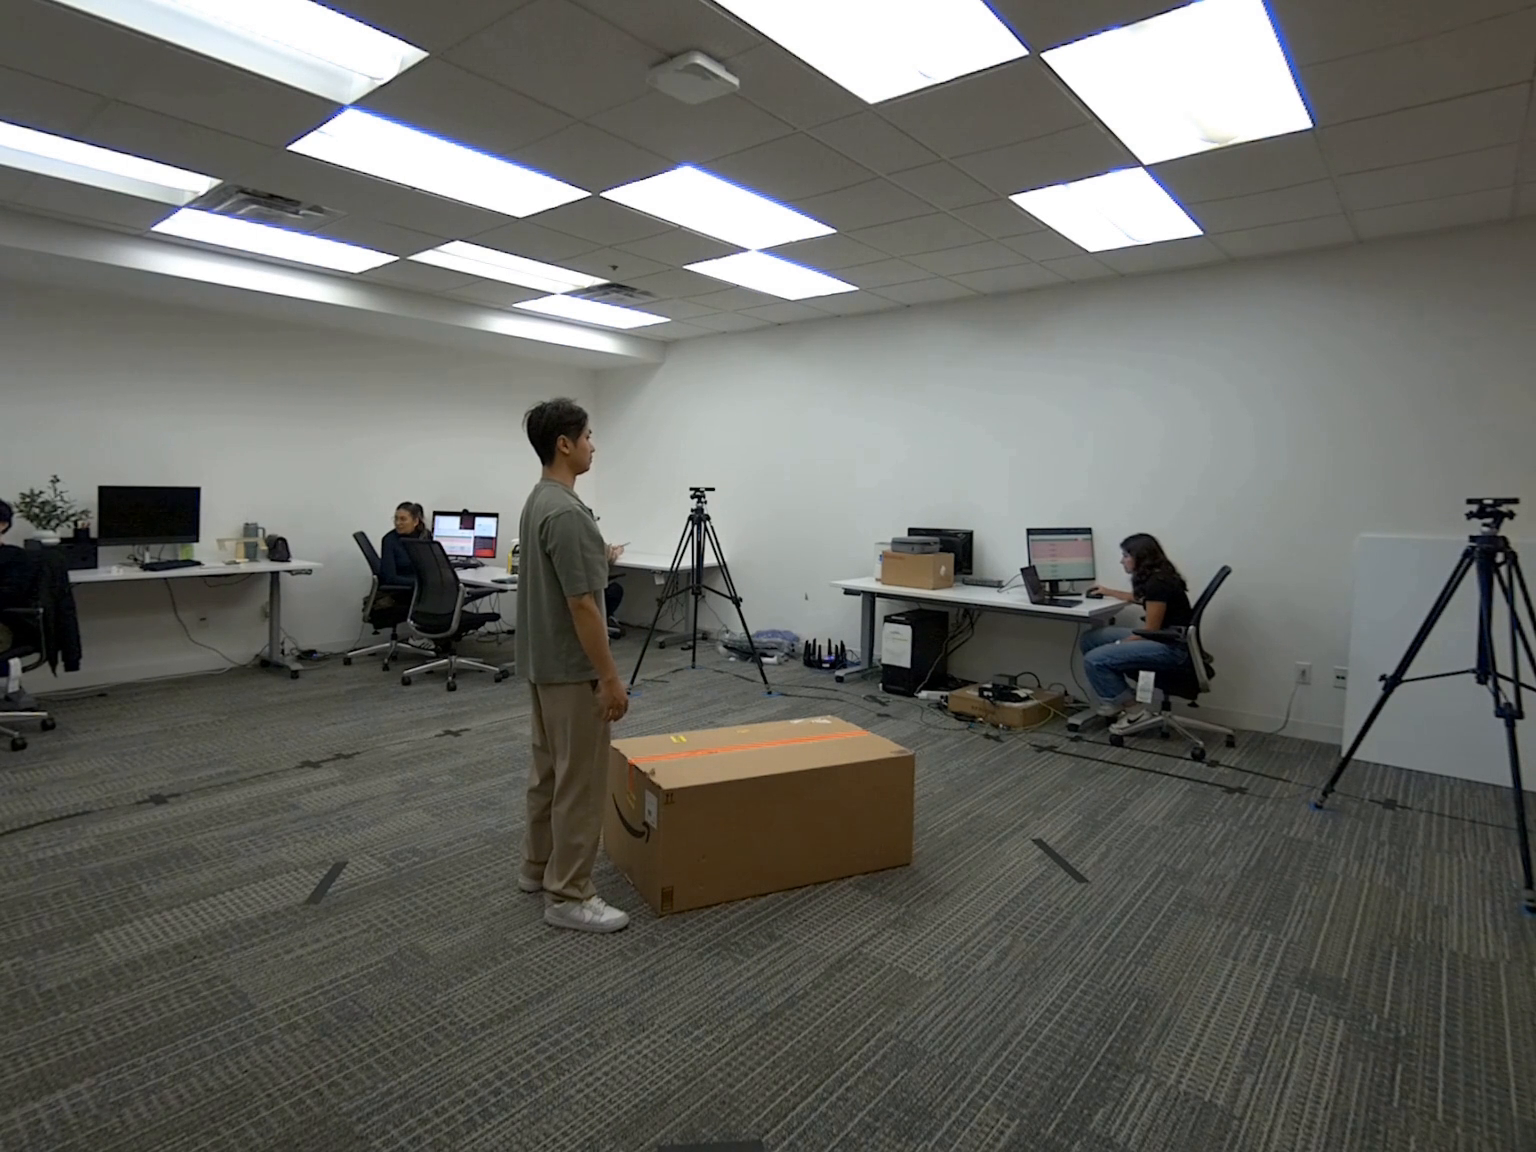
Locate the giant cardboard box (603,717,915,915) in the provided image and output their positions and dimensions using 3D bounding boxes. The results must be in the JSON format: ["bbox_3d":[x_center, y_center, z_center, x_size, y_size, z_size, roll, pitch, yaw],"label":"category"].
[{"bbox_3d":[-0.049,0.846,3.207,1.000,0.424,0.595,-1,6,-27],"label":"giant cardboard box"}]
